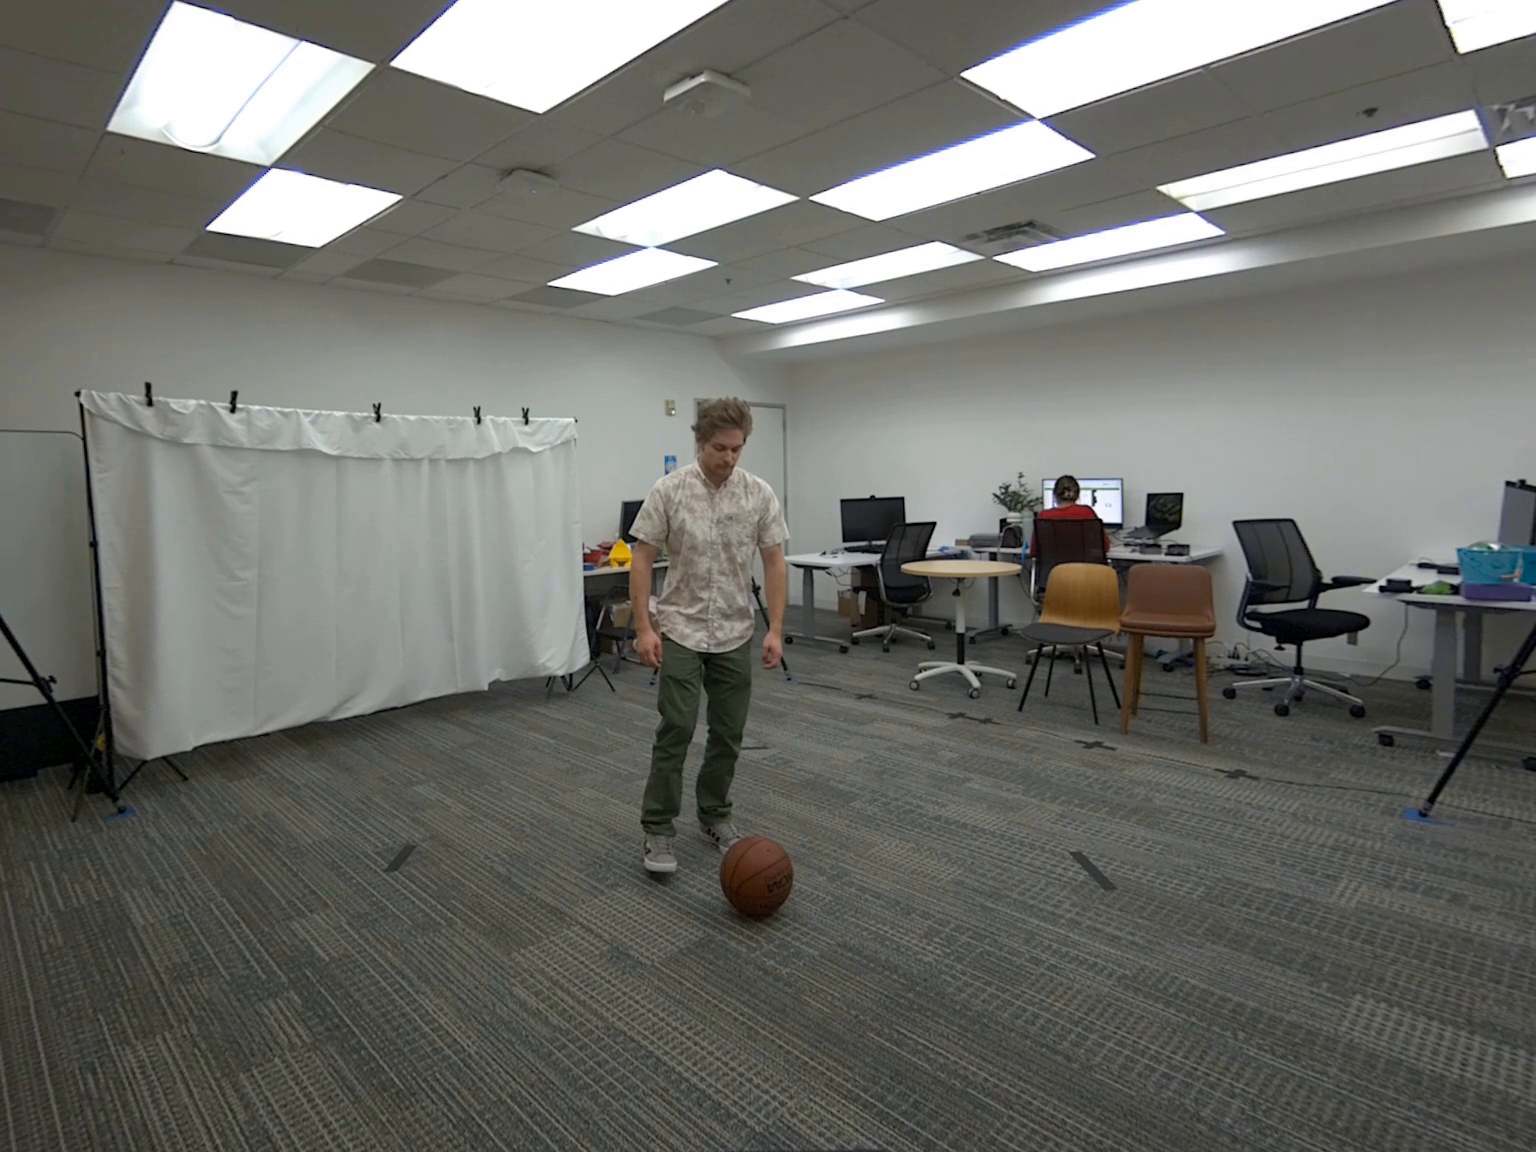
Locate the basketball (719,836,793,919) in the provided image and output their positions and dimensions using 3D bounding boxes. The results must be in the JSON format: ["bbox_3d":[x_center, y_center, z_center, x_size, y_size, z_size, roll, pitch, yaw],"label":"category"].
[{"bbox_3d":[-0.033,0.960,2.755,0.236,0.235,0.237,-1,5,-2],"label":"basketball"}]
